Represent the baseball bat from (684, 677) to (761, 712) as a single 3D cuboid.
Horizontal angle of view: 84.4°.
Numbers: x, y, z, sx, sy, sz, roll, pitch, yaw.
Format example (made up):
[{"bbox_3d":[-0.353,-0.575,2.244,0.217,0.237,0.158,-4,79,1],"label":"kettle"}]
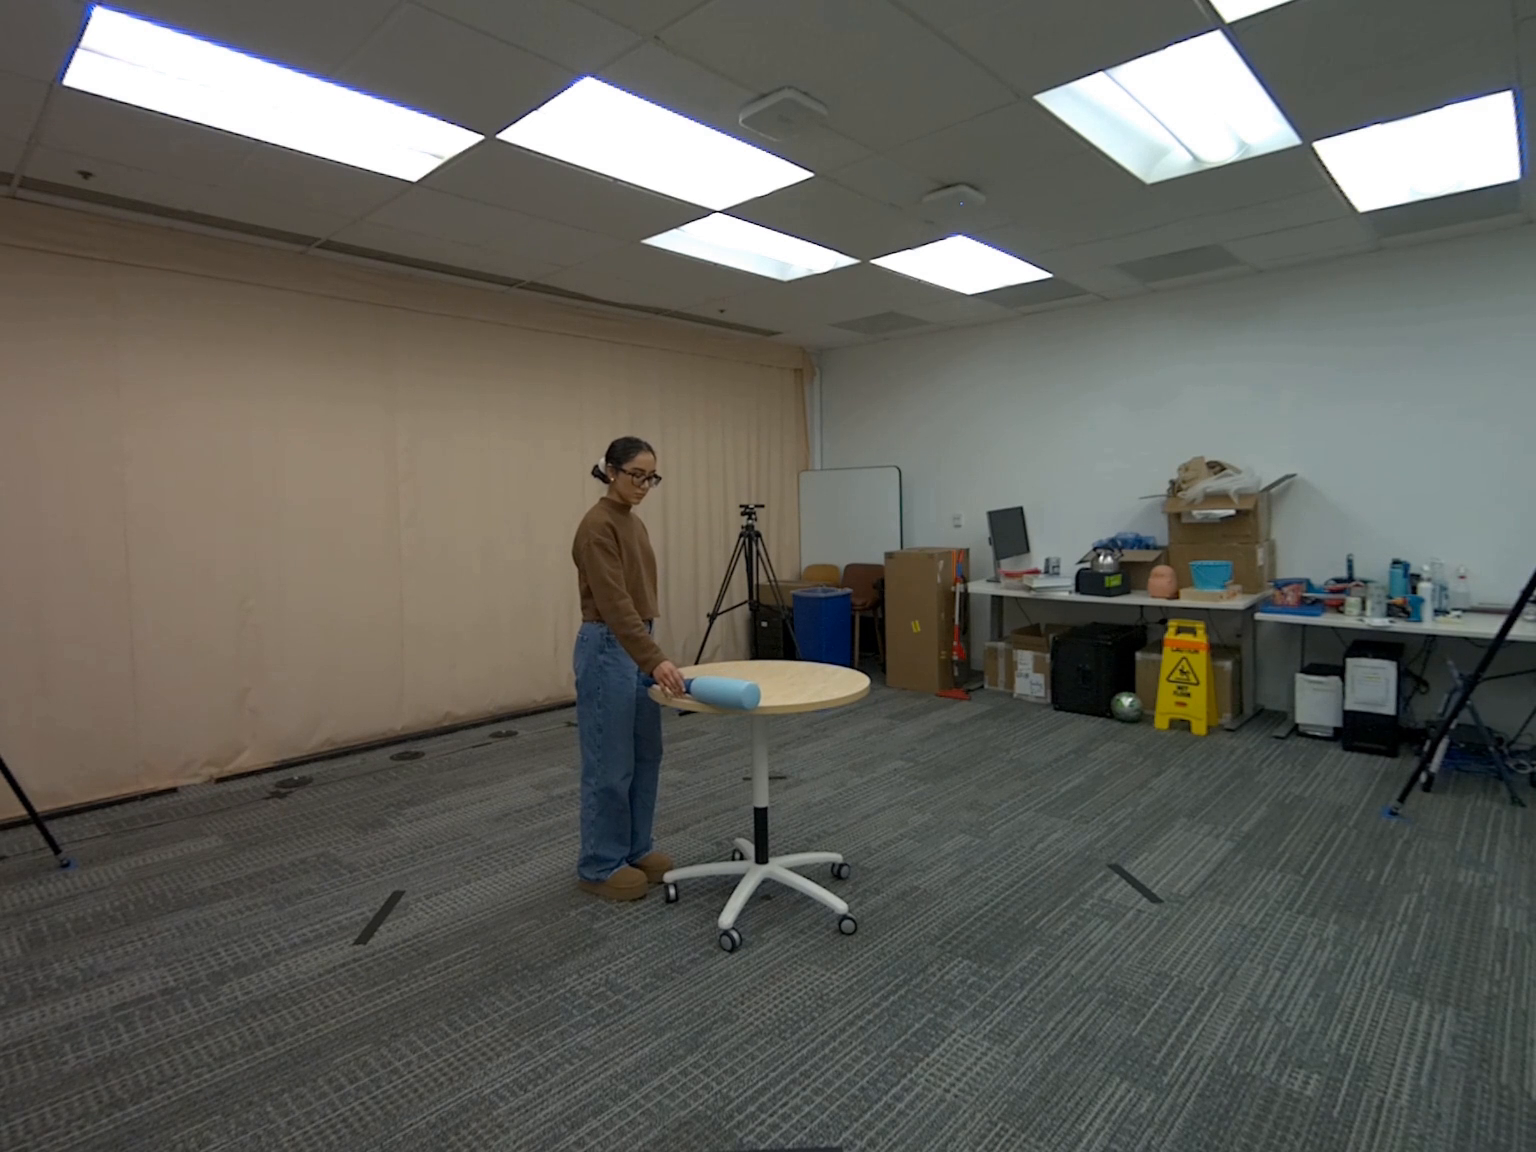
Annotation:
[{"bbox_3d":[-0.227,0.354,2.643,0.086,0.089,0.560,-4,3,-42],"label":"baseball bat"}]
